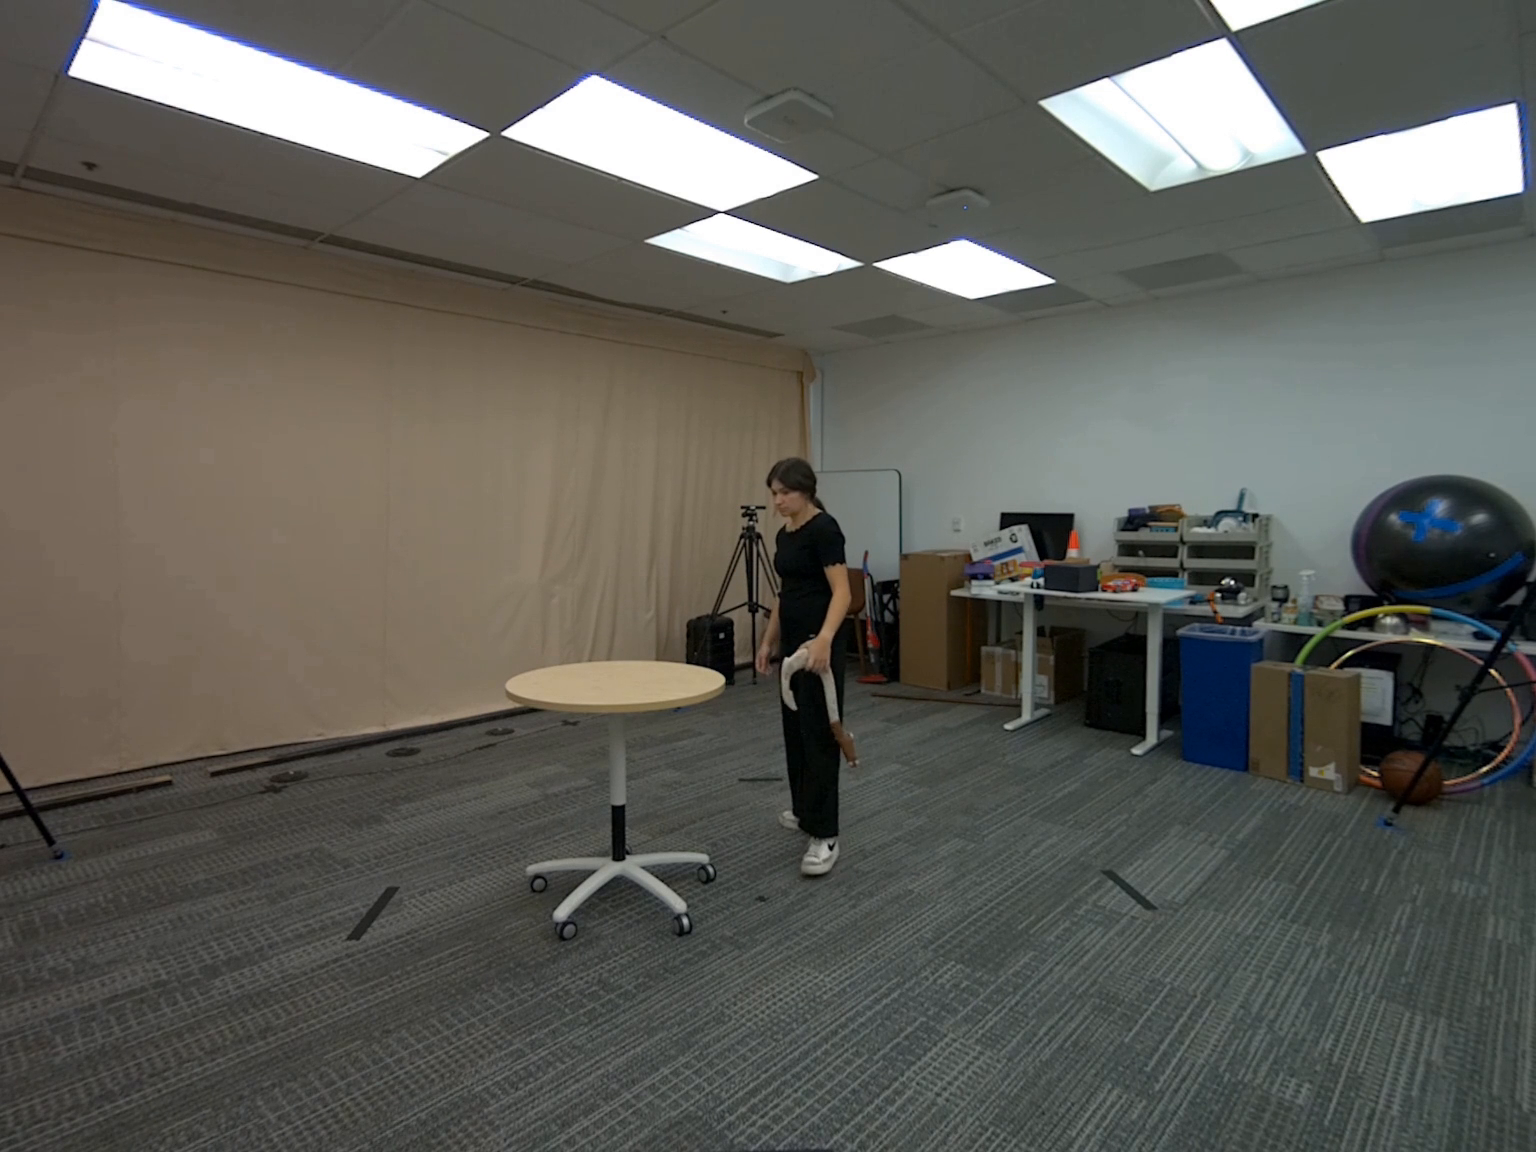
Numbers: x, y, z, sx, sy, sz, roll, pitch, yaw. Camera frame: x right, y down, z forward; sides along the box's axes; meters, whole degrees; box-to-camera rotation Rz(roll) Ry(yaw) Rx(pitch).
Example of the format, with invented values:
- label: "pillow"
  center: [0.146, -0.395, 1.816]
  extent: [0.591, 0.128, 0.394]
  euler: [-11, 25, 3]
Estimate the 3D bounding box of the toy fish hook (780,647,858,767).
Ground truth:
- label: "toy fish hook"
  center: [0.190, 0.522, 3.222]
  extent: [0.222, 0.503, 0.049]
  euler: [-23, 6, -16]
